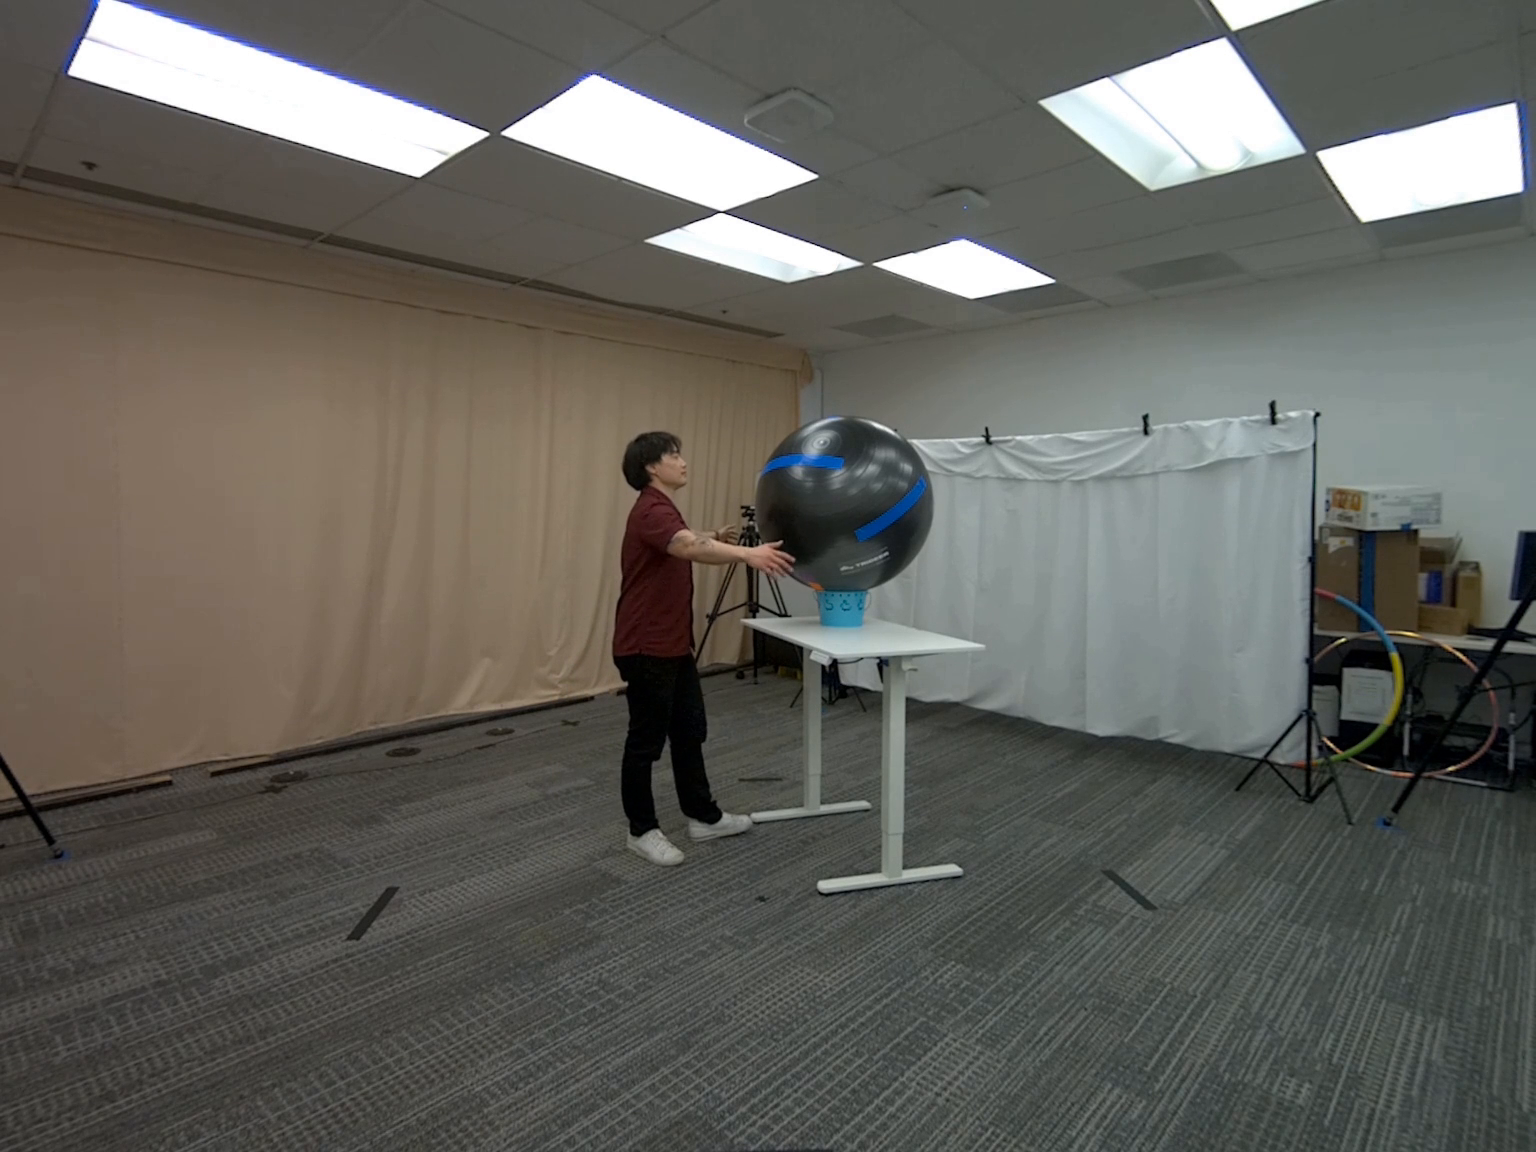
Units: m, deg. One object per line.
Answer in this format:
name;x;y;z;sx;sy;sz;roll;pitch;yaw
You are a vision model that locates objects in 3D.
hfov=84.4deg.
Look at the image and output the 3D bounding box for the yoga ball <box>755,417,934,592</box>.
yoga ball;0.325;-0.298;3.622;0.757;0.756;0.760;0;4;-2
